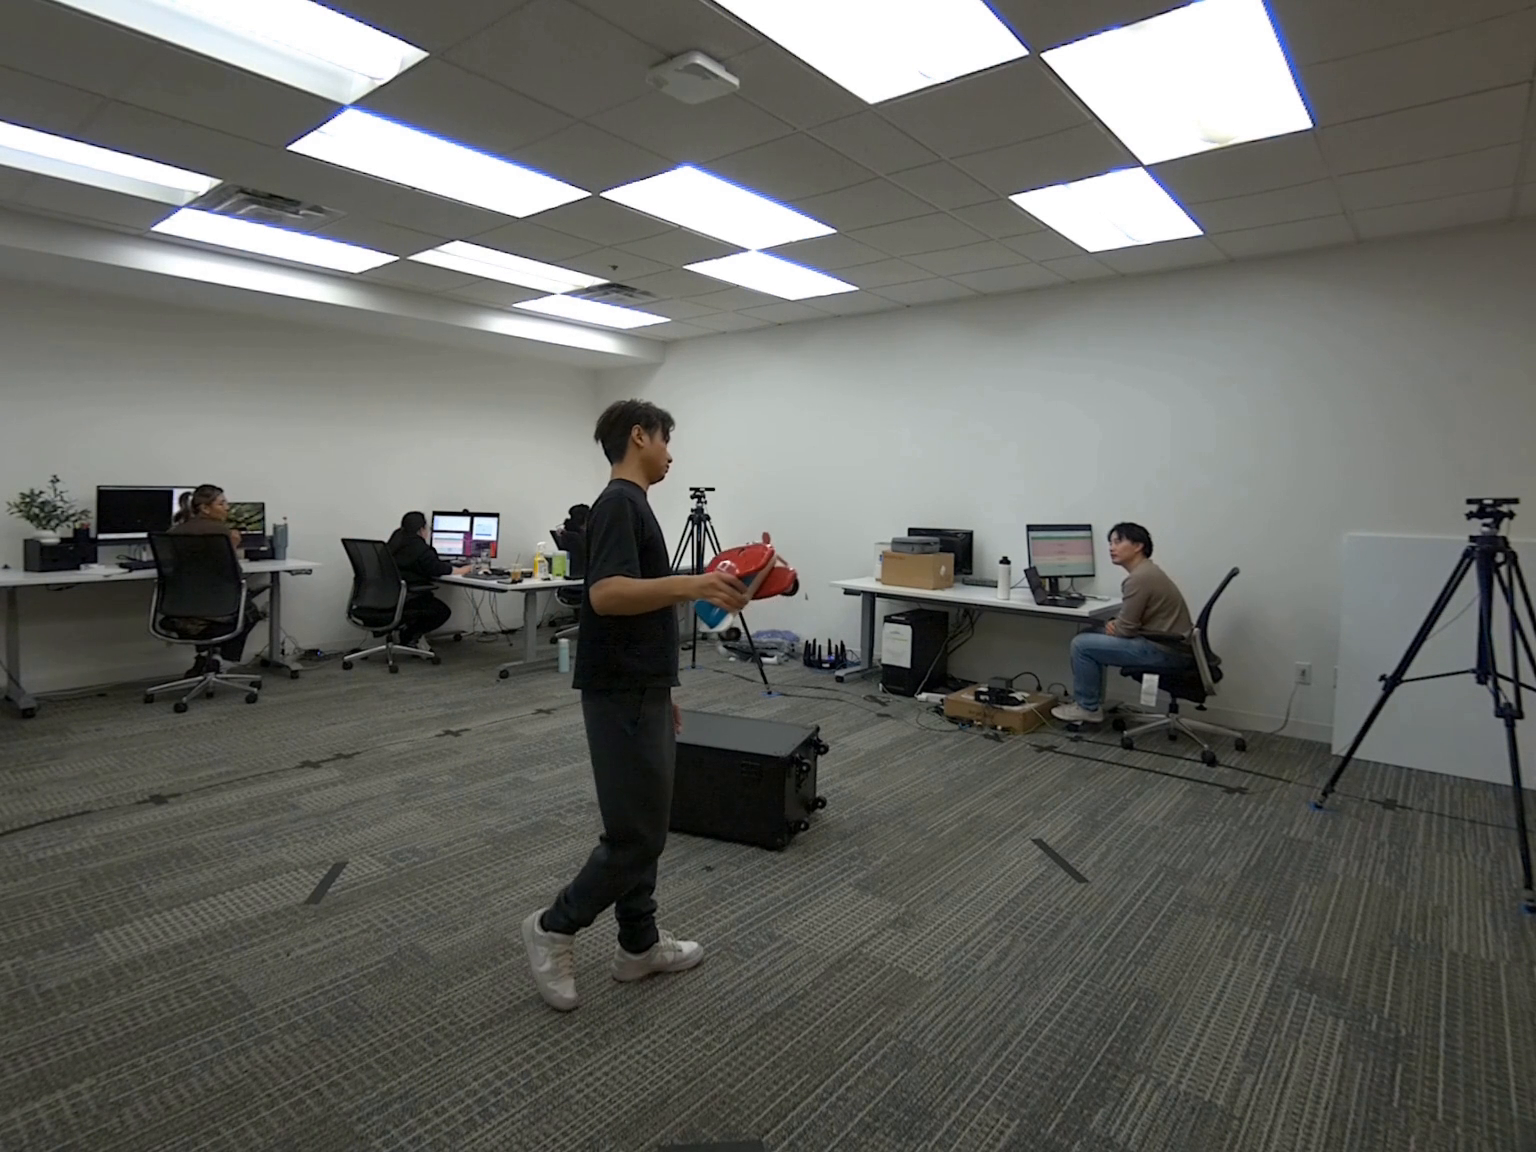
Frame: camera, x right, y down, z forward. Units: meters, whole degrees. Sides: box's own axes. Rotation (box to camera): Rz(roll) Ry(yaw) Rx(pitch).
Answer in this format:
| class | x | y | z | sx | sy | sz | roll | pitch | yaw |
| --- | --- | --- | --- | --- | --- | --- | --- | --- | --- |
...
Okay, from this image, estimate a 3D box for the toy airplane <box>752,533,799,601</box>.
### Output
| class | x | y | z | sx | sy | sz | roll | pitch | yaw |
| --- | --- | --- | --- | --- | --- | --- | --- | --- | --- |
| toy airplane | -0.055 | 0.029 | 1.966 | 0.255 | 0.153 | 0.260 | -24 | 17 | 32 |
